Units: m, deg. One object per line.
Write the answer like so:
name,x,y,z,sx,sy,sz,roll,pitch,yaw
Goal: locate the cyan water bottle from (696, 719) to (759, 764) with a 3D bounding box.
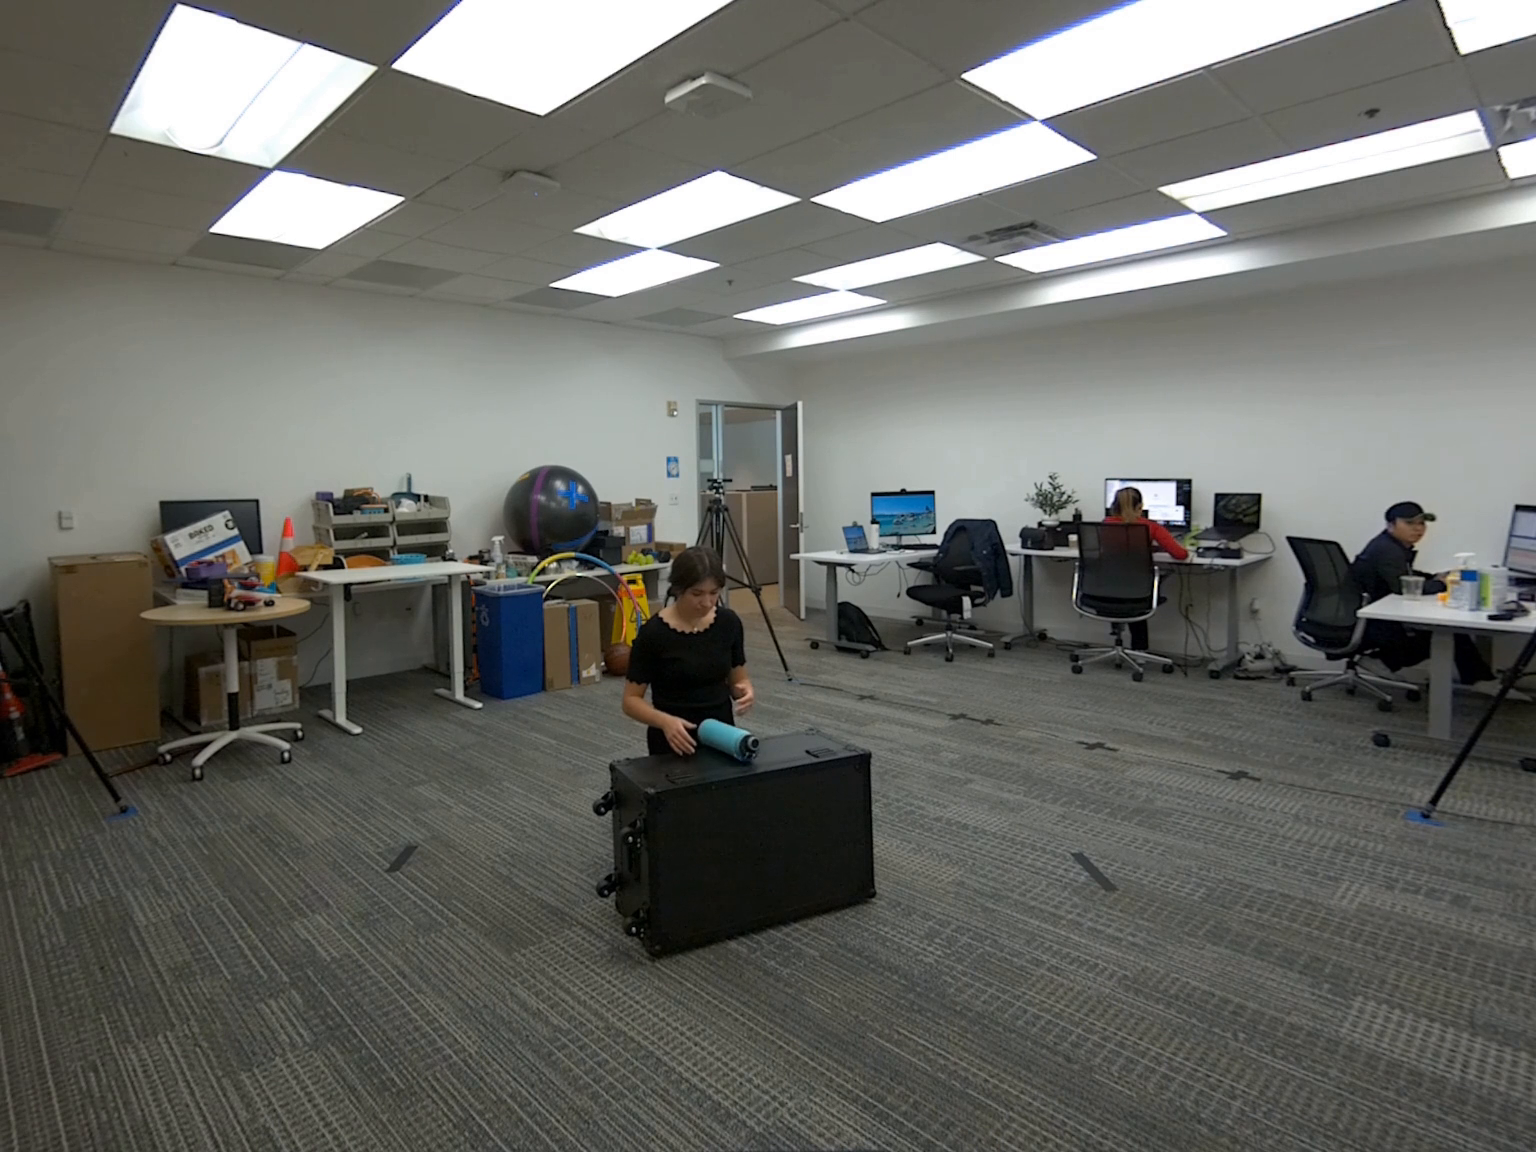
cyan water bottle,-0.122,0.546,2.828,0.090,0.092,0.290,-3,3,-28
